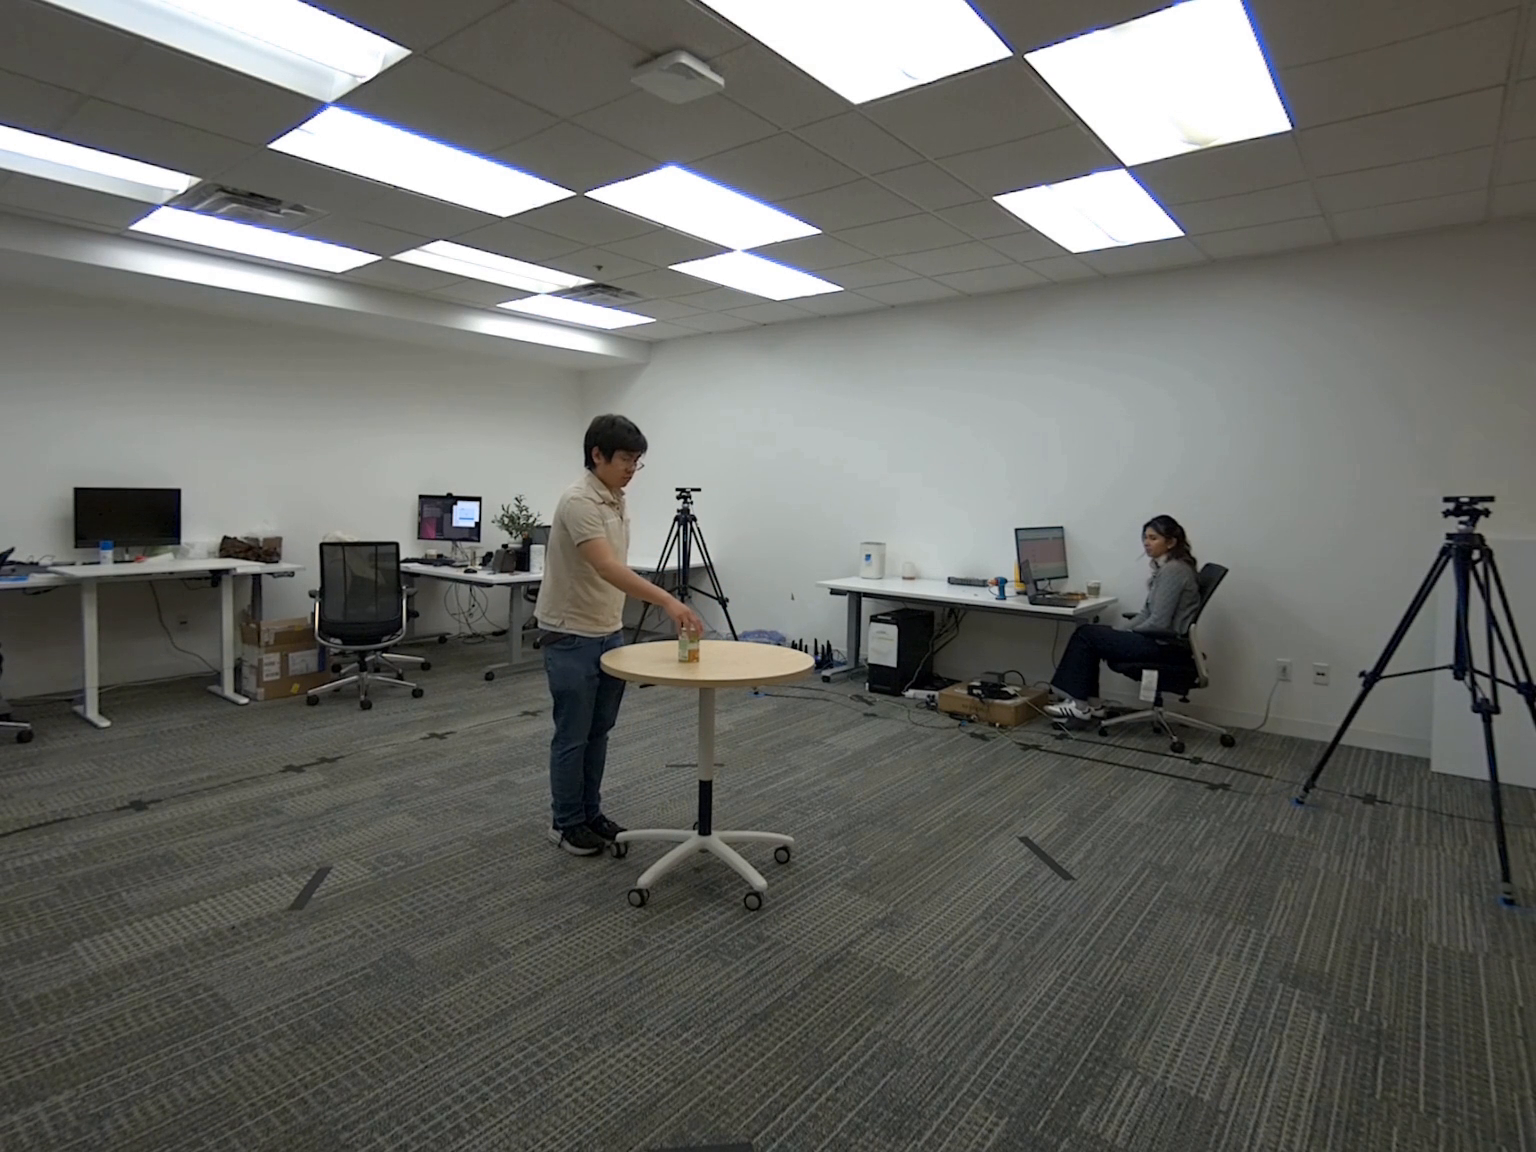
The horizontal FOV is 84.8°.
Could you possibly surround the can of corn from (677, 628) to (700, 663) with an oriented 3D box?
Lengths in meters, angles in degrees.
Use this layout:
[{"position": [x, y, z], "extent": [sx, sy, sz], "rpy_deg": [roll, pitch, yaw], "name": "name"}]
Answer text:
[{"position": [-0.287, 0.239, 2.983], "extent": [0.074, 0.110, 0.074], "rpy_deg": [-3, 5, -2], "name": "can of corn"}]
